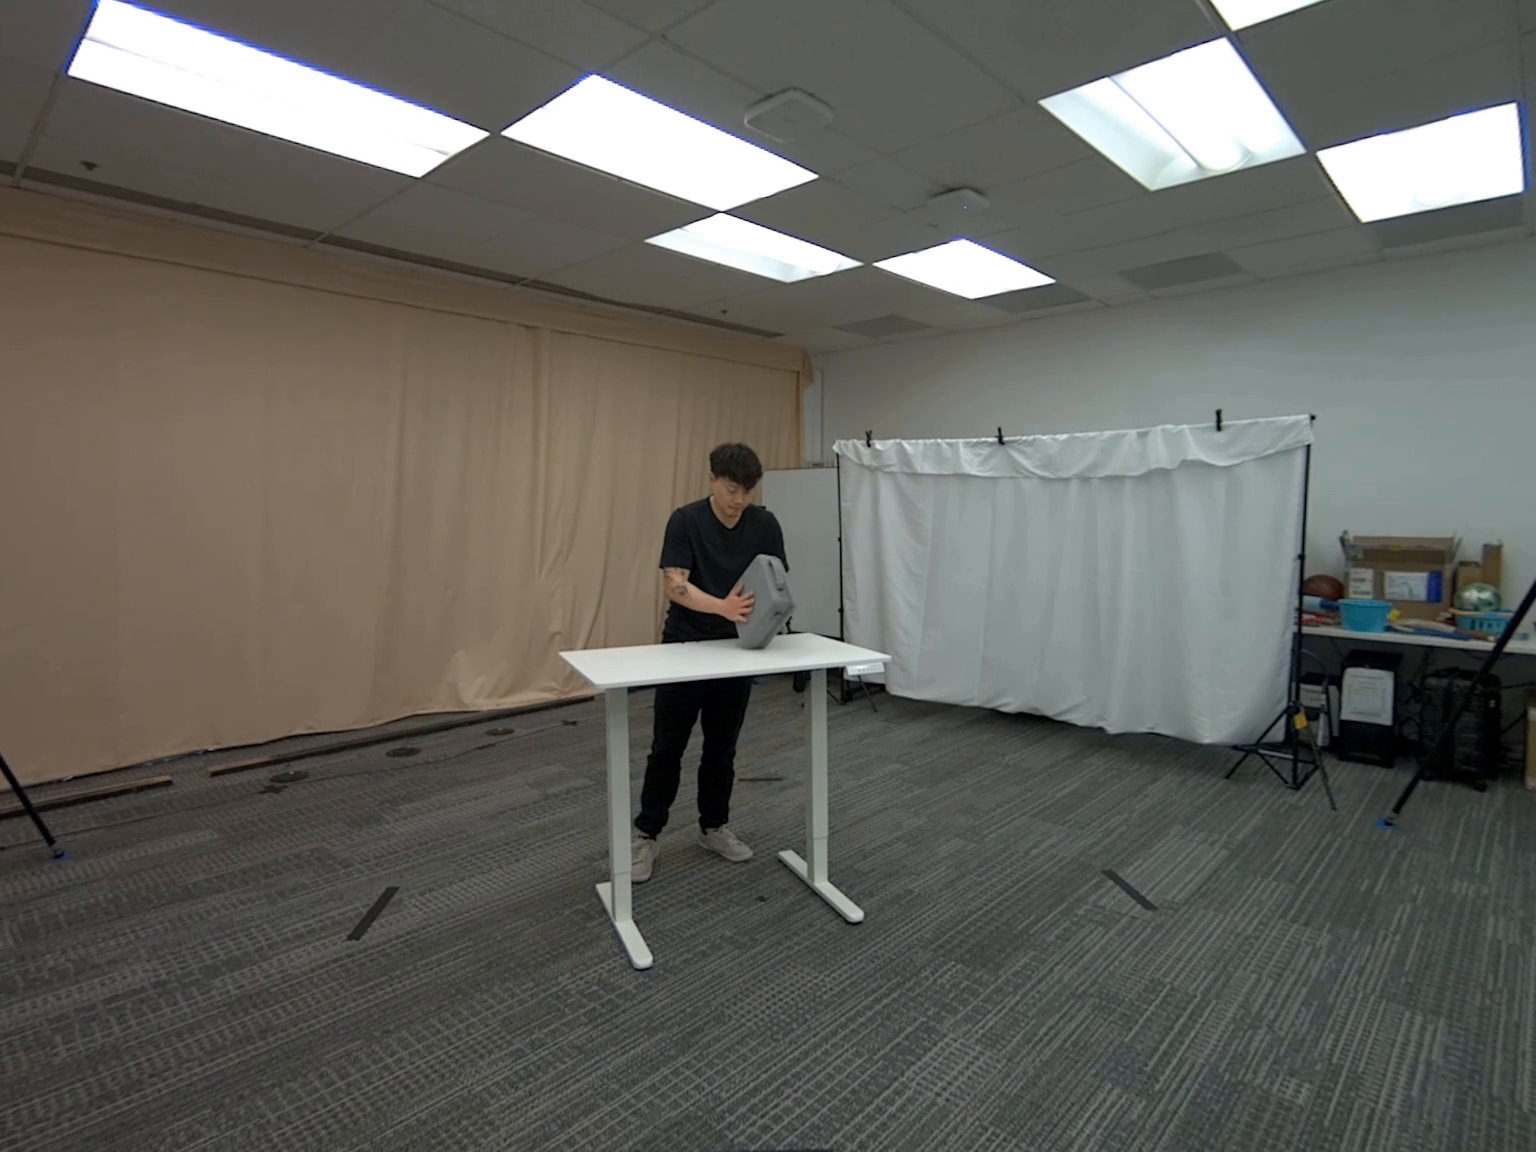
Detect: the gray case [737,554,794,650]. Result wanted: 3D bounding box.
[{"bbox_3d":[-0.019,0.091,2.994,0.102,0.260,0.264,9,40,-25],"label":"gray case"}]
